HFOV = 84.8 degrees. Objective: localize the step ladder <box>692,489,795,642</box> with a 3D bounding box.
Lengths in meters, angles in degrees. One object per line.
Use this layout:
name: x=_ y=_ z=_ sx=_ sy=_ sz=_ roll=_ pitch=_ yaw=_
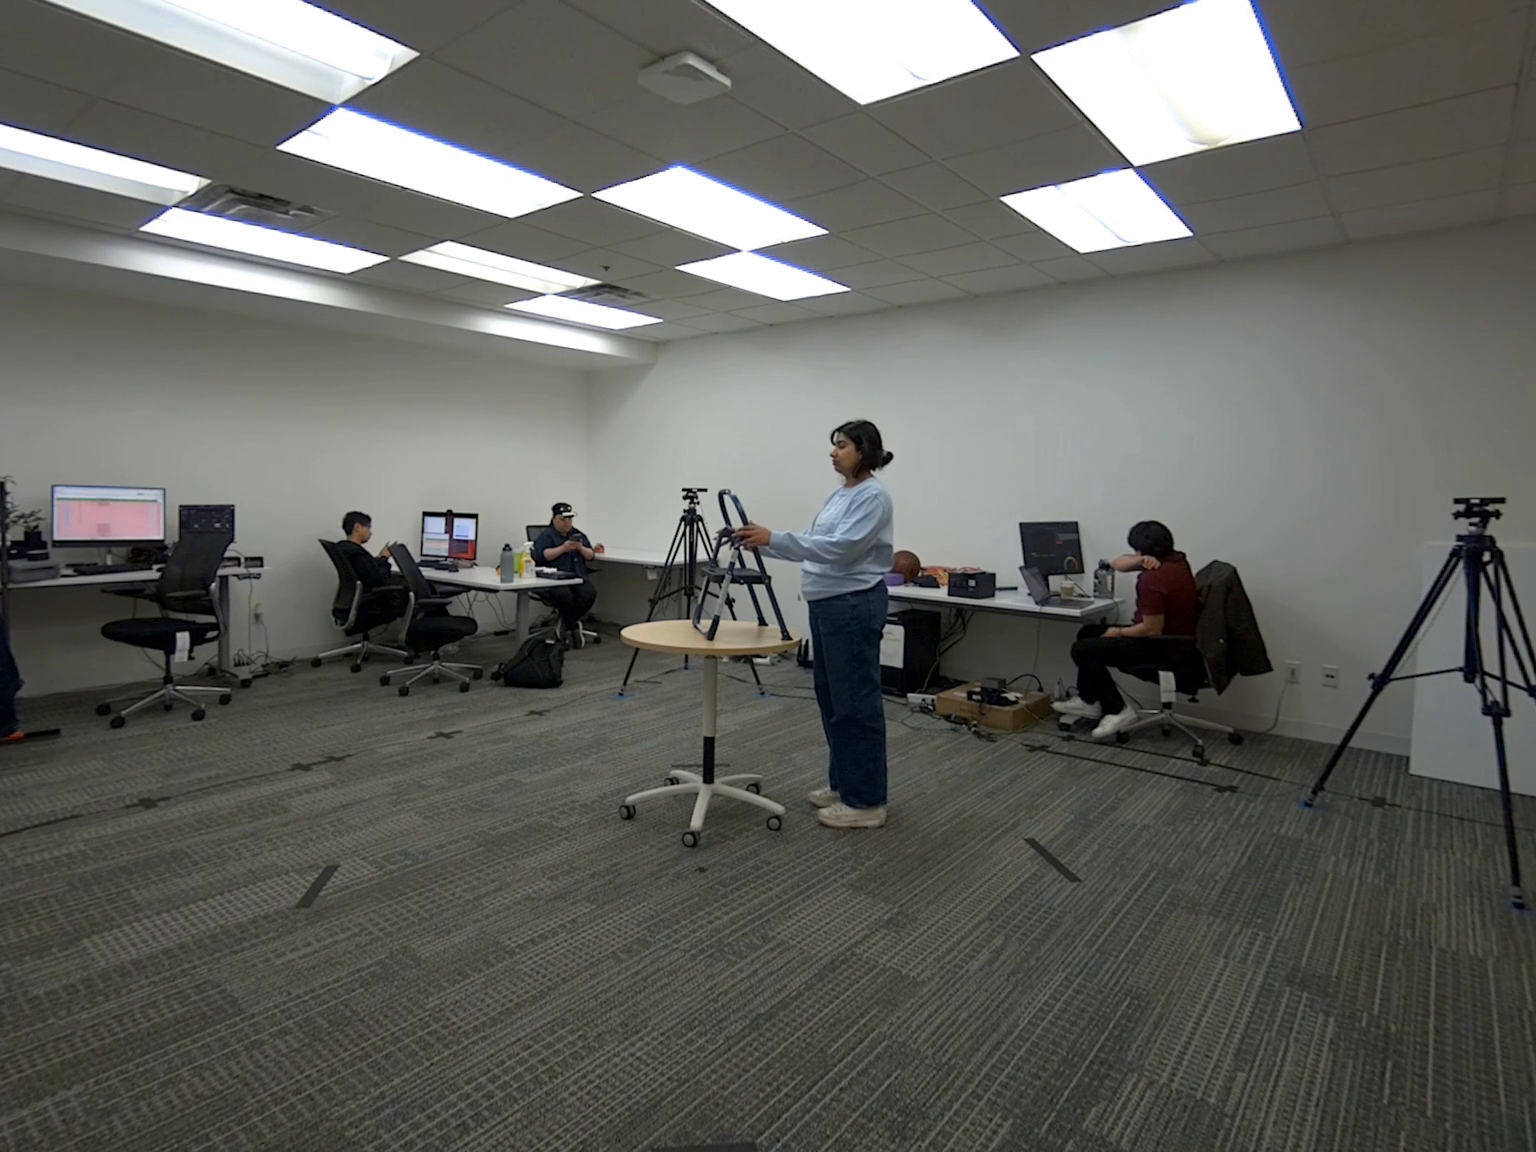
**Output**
step ladder: x=-0.125 y=-0.063 z=3.615 sx=0.345 sy=0.604 sz=0.438 roll=1 pitch=4 yaw=-13
